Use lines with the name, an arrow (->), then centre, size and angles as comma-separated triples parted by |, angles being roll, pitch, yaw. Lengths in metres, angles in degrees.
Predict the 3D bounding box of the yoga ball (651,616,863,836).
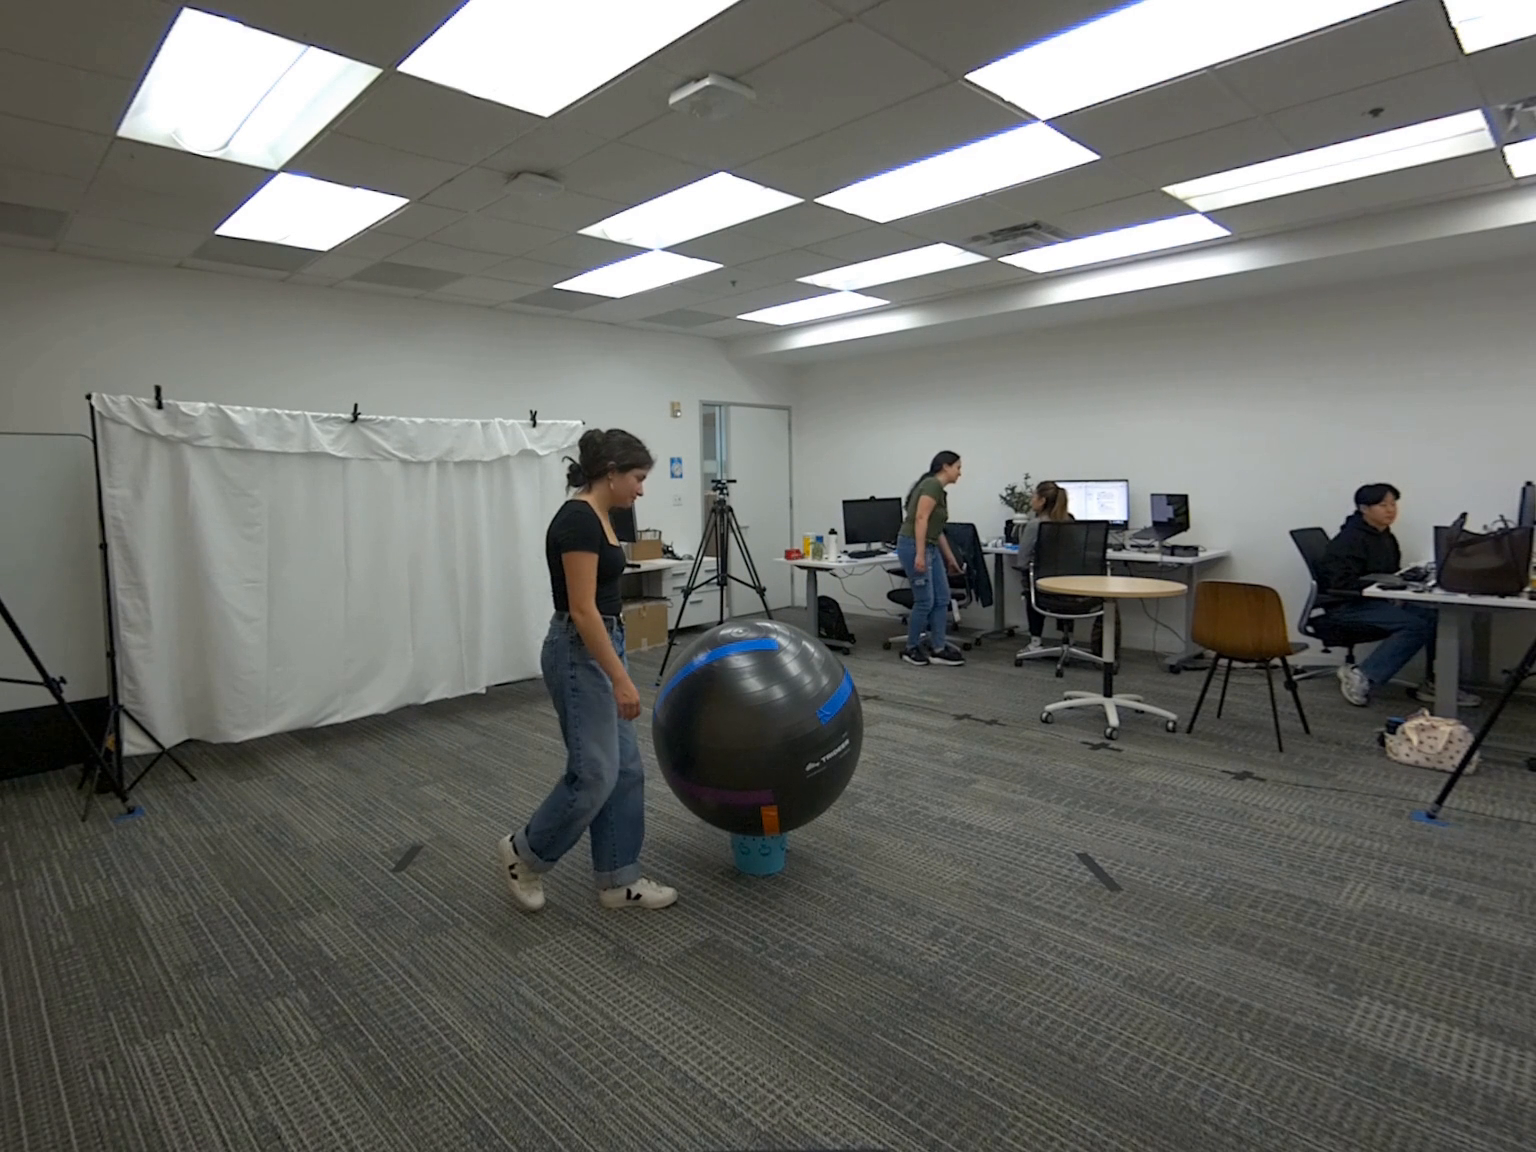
yoga ball -> -0.039, 0.543, 3.068 | 0.757, 0.755, 0.762 | -1, 5, -2
